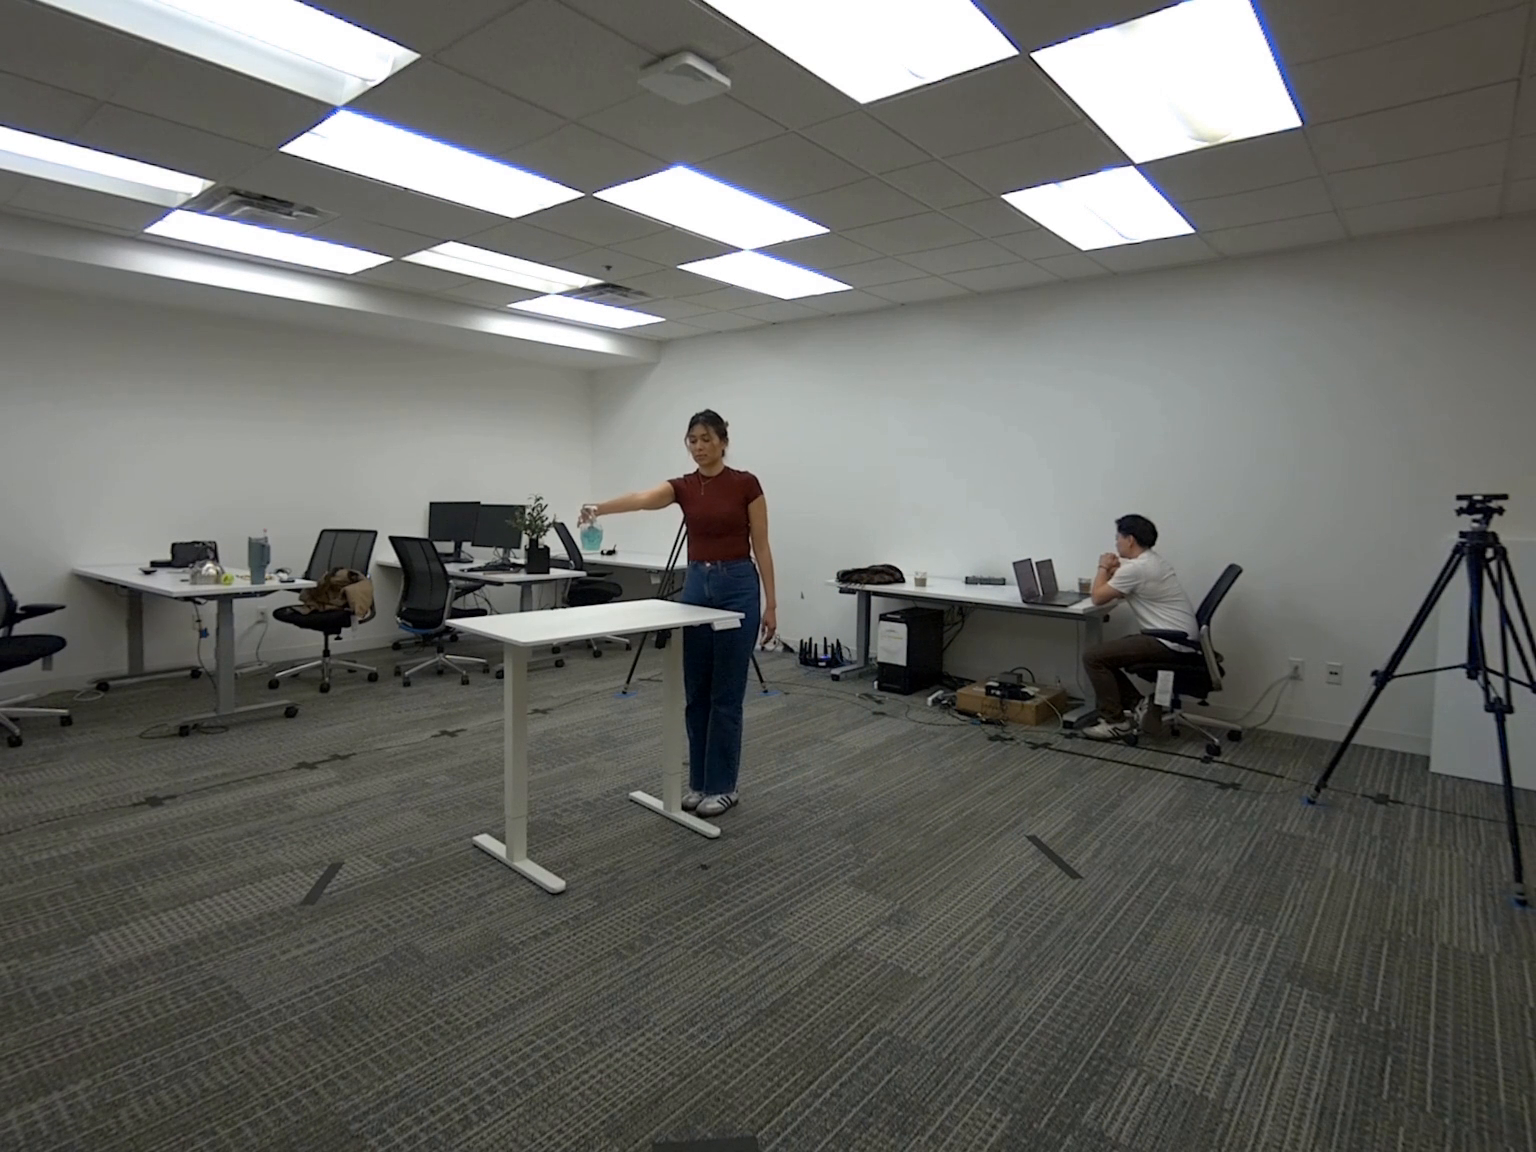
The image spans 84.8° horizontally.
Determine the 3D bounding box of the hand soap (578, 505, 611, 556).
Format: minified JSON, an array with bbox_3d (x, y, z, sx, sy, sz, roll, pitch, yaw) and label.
[{"bbox_3d":[-0.685,-0.182,3.218,0.084,0.168,0.044,5,3,-8],"label":"hand soap"}]
